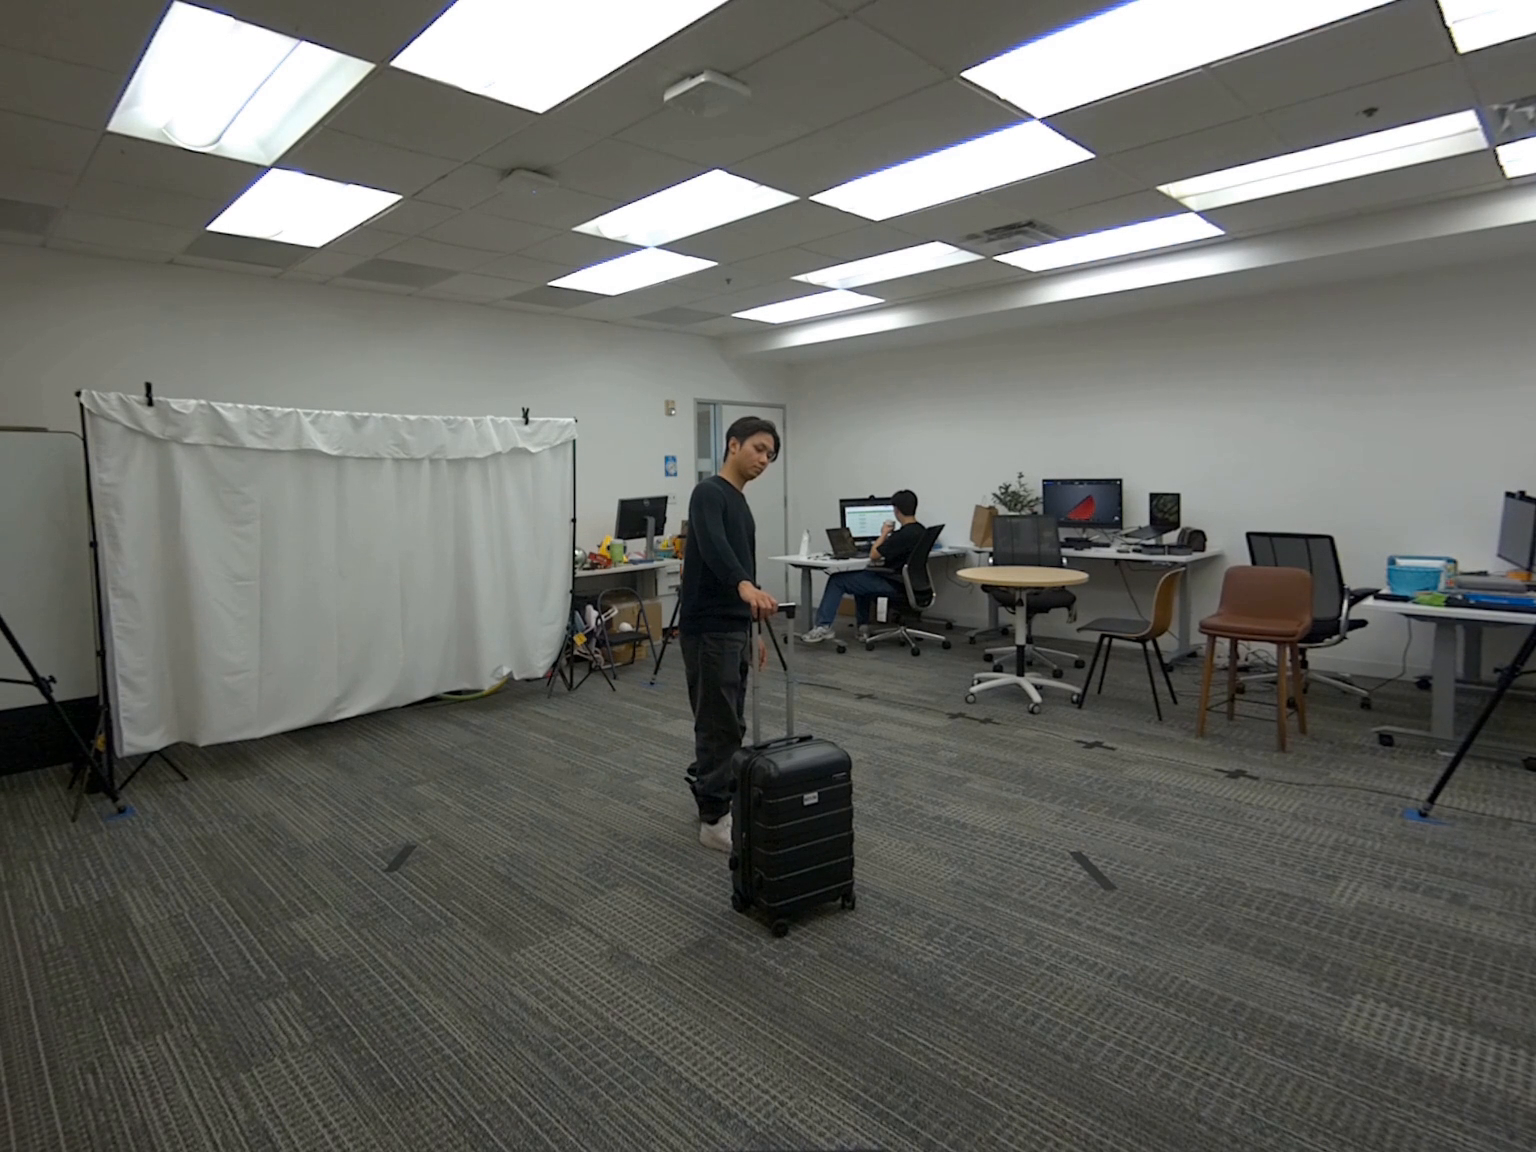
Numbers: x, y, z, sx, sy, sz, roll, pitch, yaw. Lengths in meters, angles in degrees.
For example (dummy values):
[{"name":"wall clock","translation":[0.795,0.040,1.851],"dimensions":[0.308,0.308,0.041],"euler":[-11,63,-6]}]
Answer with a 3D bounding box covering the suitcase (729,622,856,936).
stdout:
[{"name":"suitcase","translation":[0.083,0.606,2.734],"dimensions":[0.375,0.973,0.264],"euler":[-4,7,-30]}]
